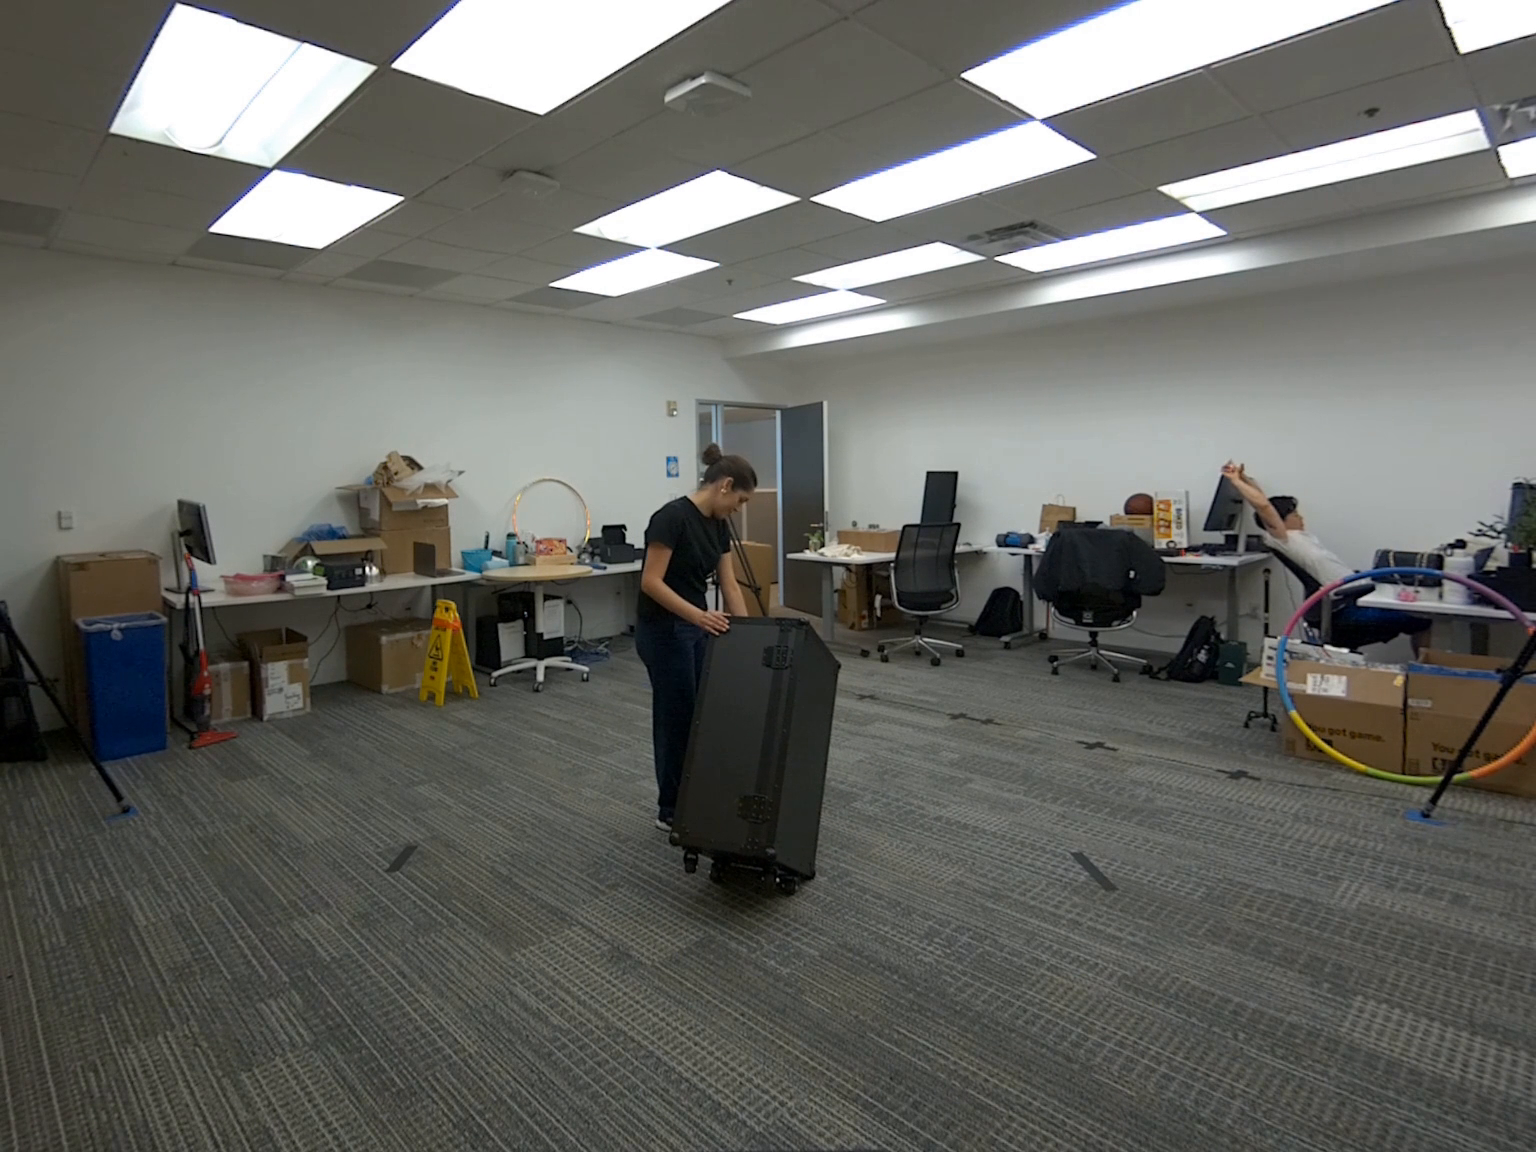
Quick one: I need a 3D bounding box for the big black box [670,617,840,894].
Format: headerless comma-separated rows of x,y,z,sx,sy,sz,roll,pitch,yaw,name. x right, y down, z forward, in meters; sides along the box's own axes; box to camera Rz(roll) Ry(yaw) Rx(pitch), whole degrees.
-0.036,0.623,3.012,0.404,0.876,0.502,-2,-26,21,big black box
